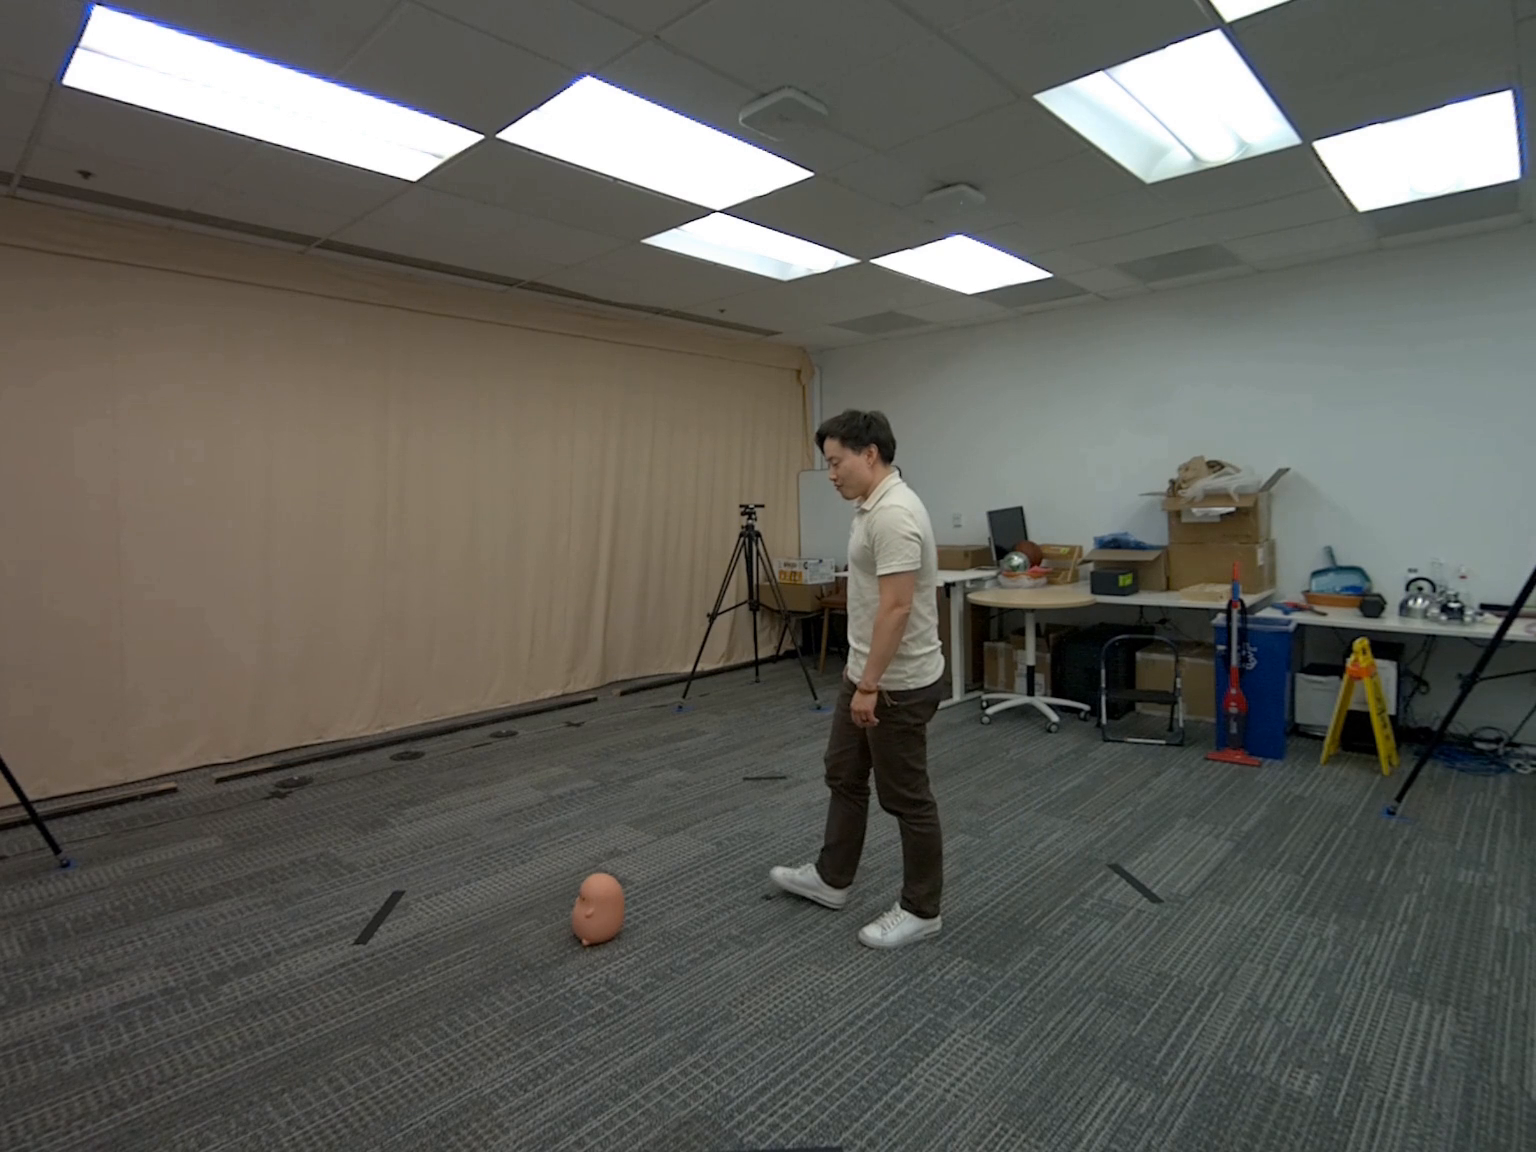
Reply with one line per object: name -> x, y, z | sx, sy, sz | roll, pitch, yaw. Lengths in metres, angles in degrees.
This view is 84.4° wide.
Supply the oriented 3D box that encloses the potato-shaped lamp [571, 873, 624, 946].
potato-shaped lamp -> -0.548, 1.074, 2.736 | 0.167, 0.198, 0.169 | -3, 3, -28
